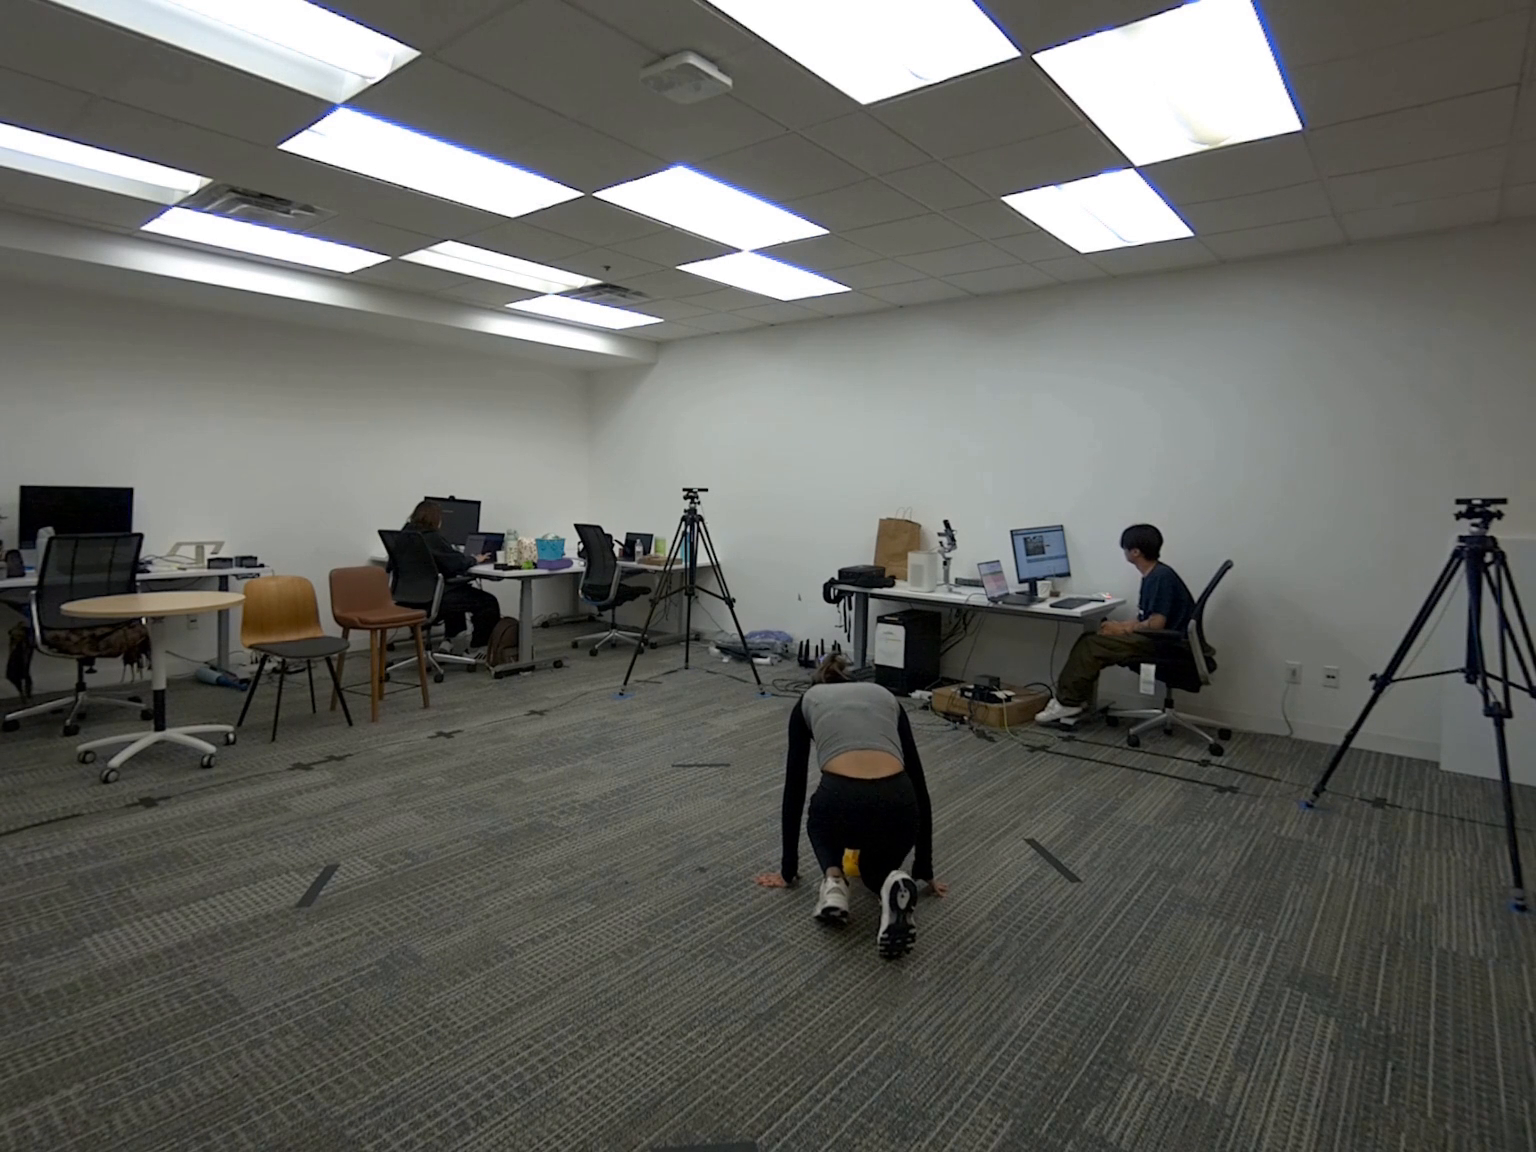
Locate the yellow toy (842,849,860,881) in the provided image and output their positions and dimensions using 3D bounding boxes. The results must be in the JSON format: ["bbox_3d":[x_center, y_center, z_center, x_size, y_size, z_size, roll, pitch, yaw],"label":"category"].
[{"bbox_3d":[0.337,0.960,3.158,0.200,0.230,0.199,-1,5,-28],"label":"yellow toy"}]
